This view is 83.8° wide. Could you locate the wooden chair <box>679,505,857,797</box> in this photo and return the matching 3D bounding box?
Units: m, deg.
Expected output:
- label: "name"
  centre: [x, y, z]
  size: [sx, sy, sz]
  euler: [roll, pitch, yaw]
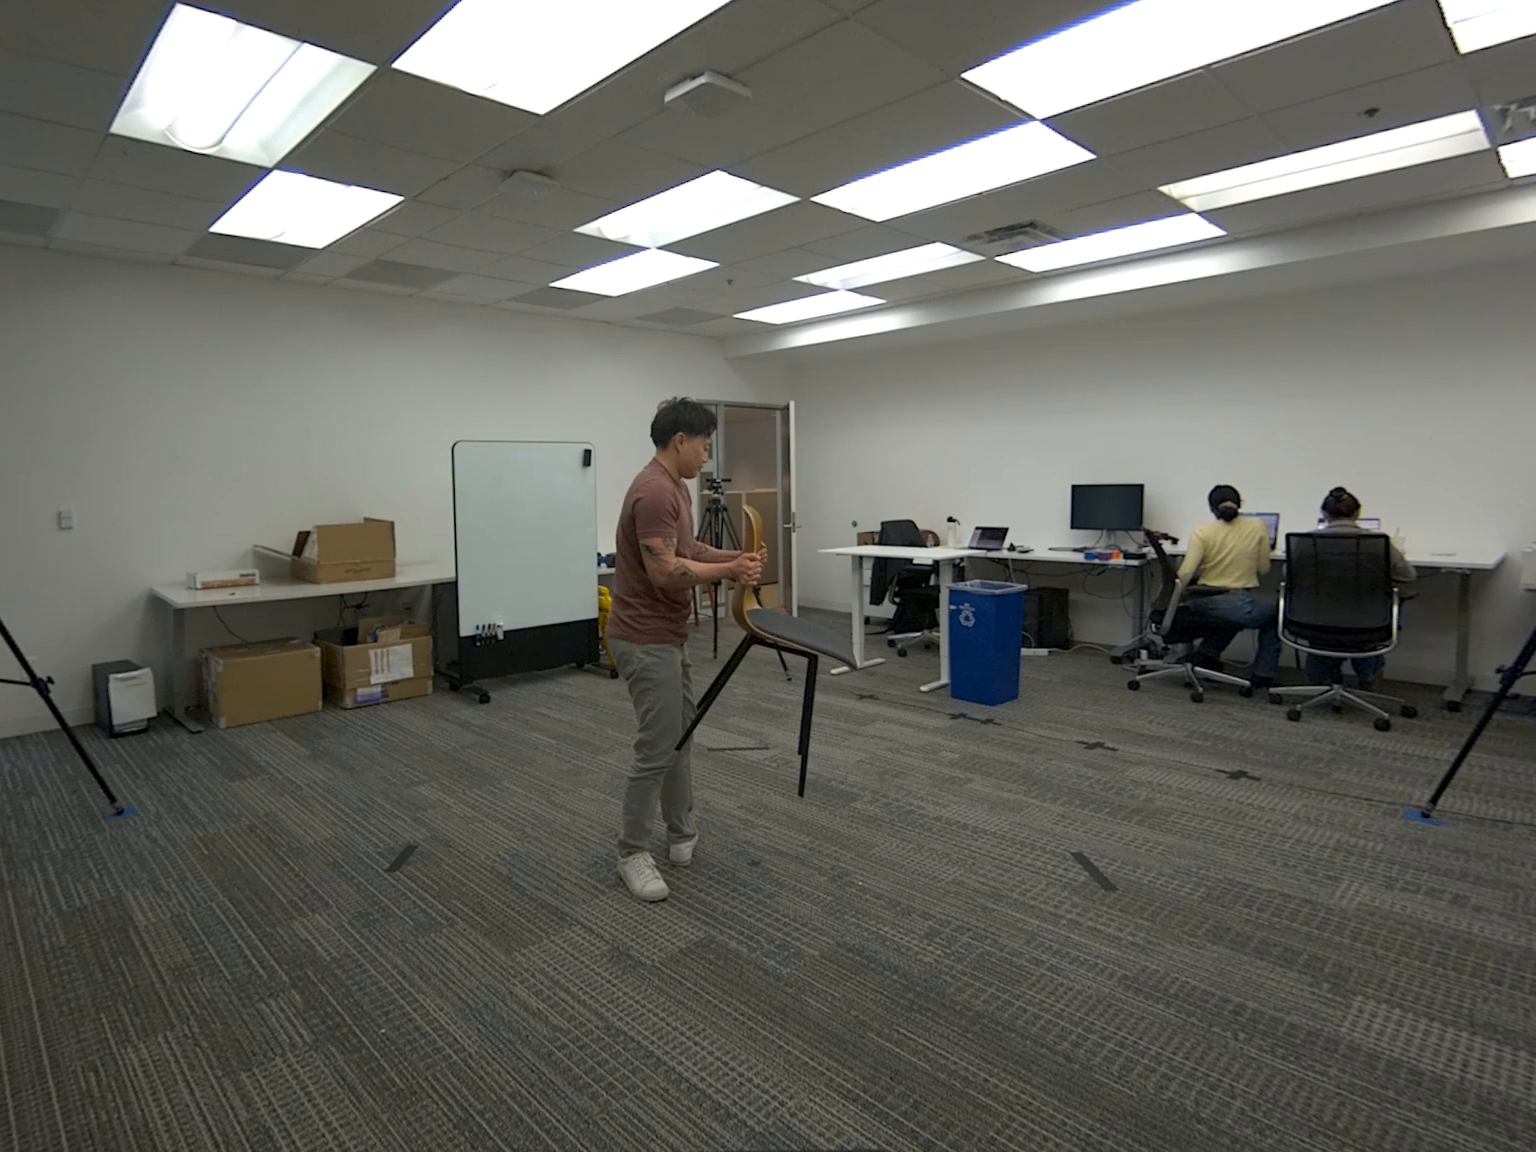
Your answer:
- label: "wooden chair"
  centre: [0.050, 0.237, 3.021]
  size: [0.524, 0.875, 0.478]
  euler: [14, 4, 1]
